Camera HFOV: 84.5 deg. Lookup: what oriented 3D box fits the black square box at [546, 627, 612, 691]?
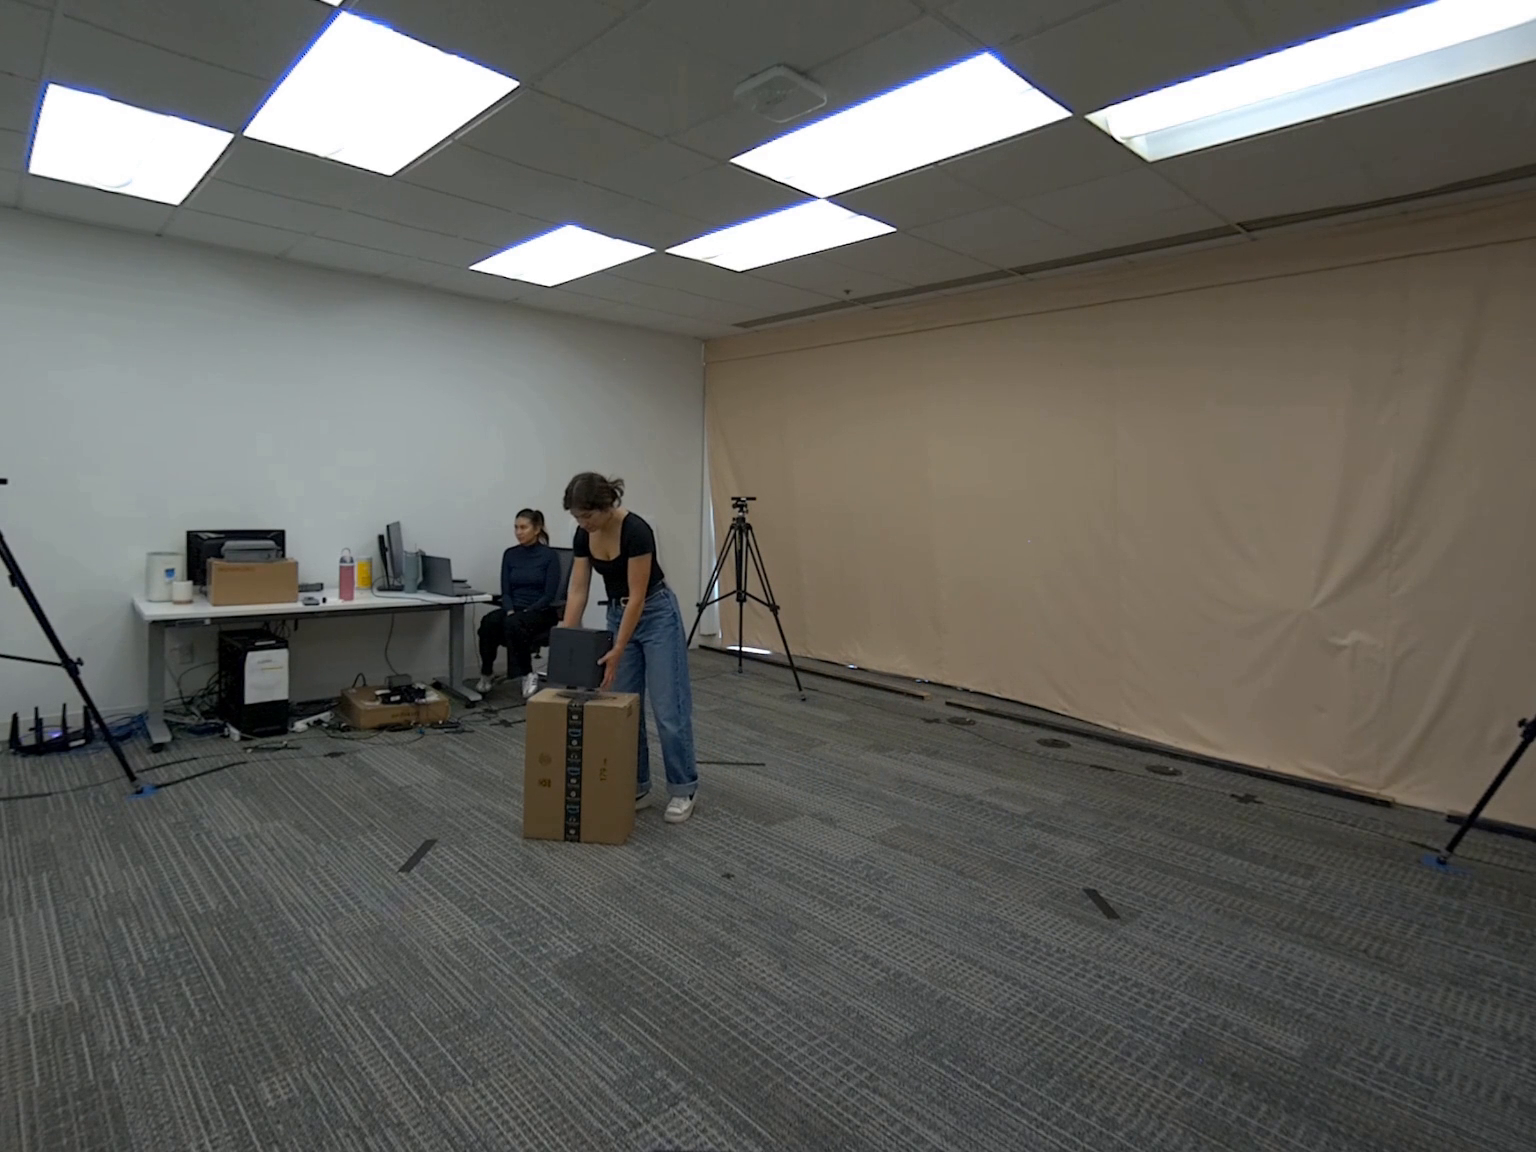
[{"bbox_3d":[-0.794,0.326,3.467,0.220,0.228,0.154,3,0,15],"label":"black square box"}]
